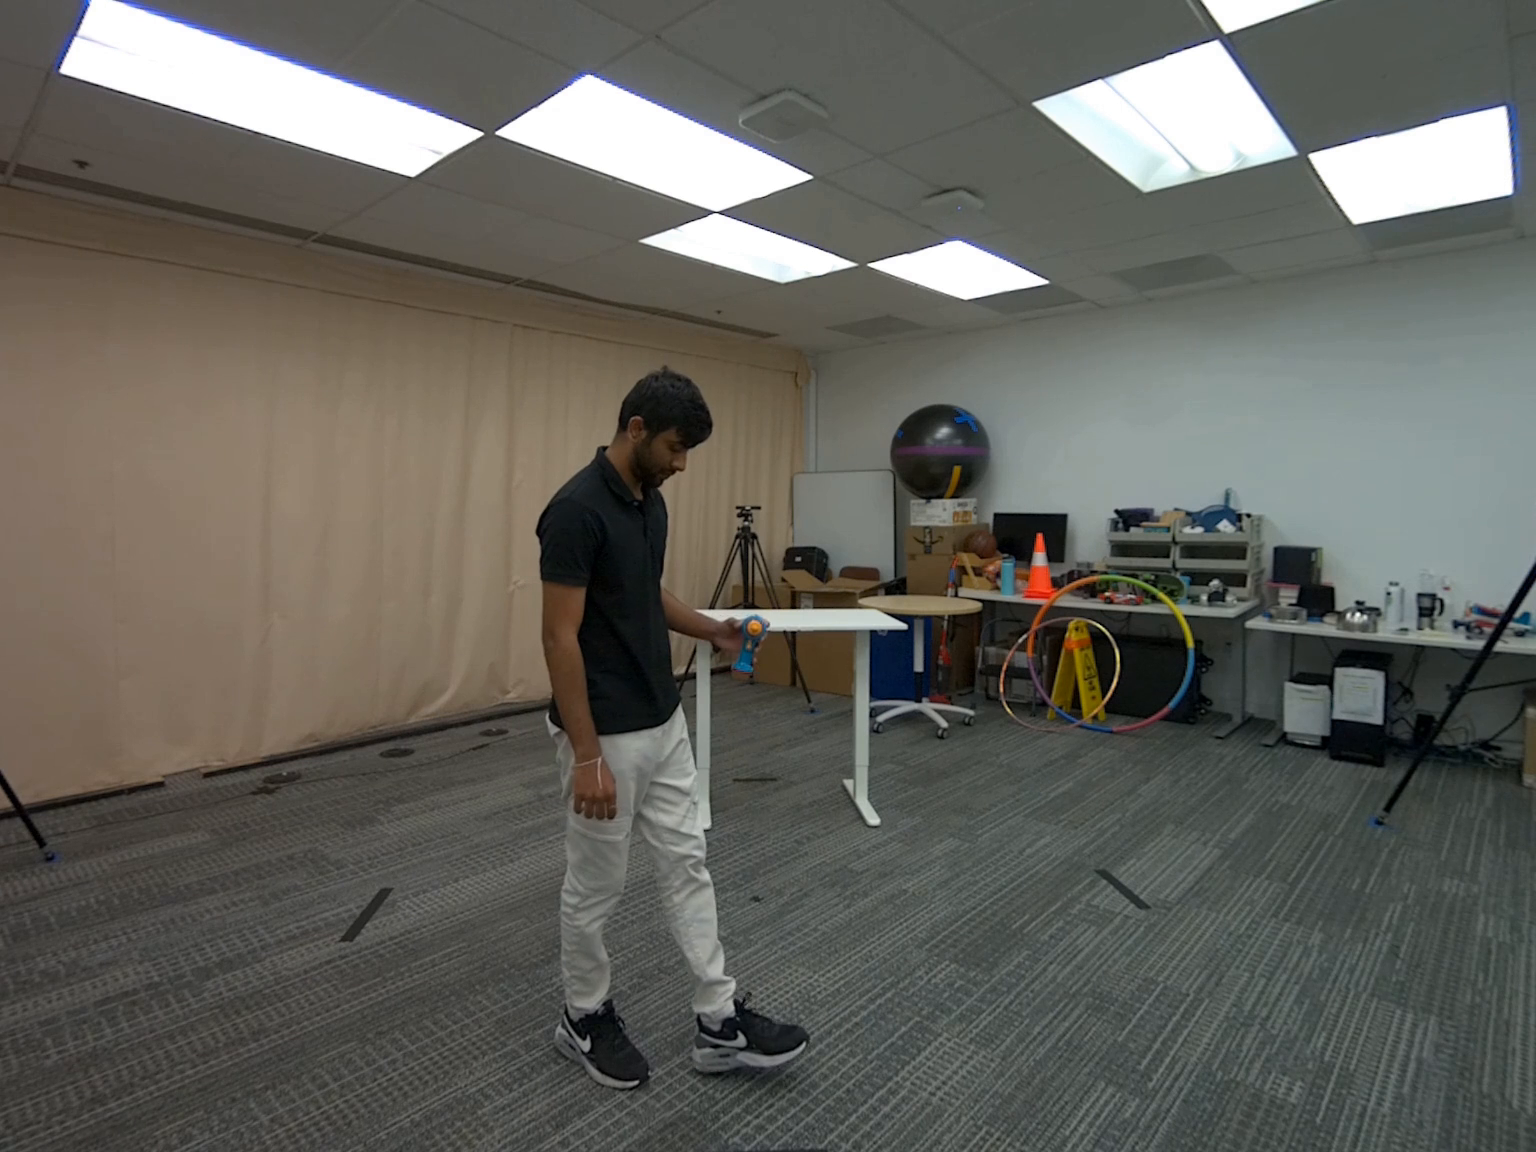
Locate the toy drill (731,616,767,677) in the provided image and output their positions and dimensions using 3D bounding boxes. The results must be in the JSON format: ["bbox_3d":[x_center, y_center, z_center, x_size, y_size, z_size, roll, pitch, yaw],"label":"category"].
[{"bbox_3d":[-0.049,0.162,2.015,0.061,0.146,0.170,19,-6,-6],"label":"toy drill"}]
